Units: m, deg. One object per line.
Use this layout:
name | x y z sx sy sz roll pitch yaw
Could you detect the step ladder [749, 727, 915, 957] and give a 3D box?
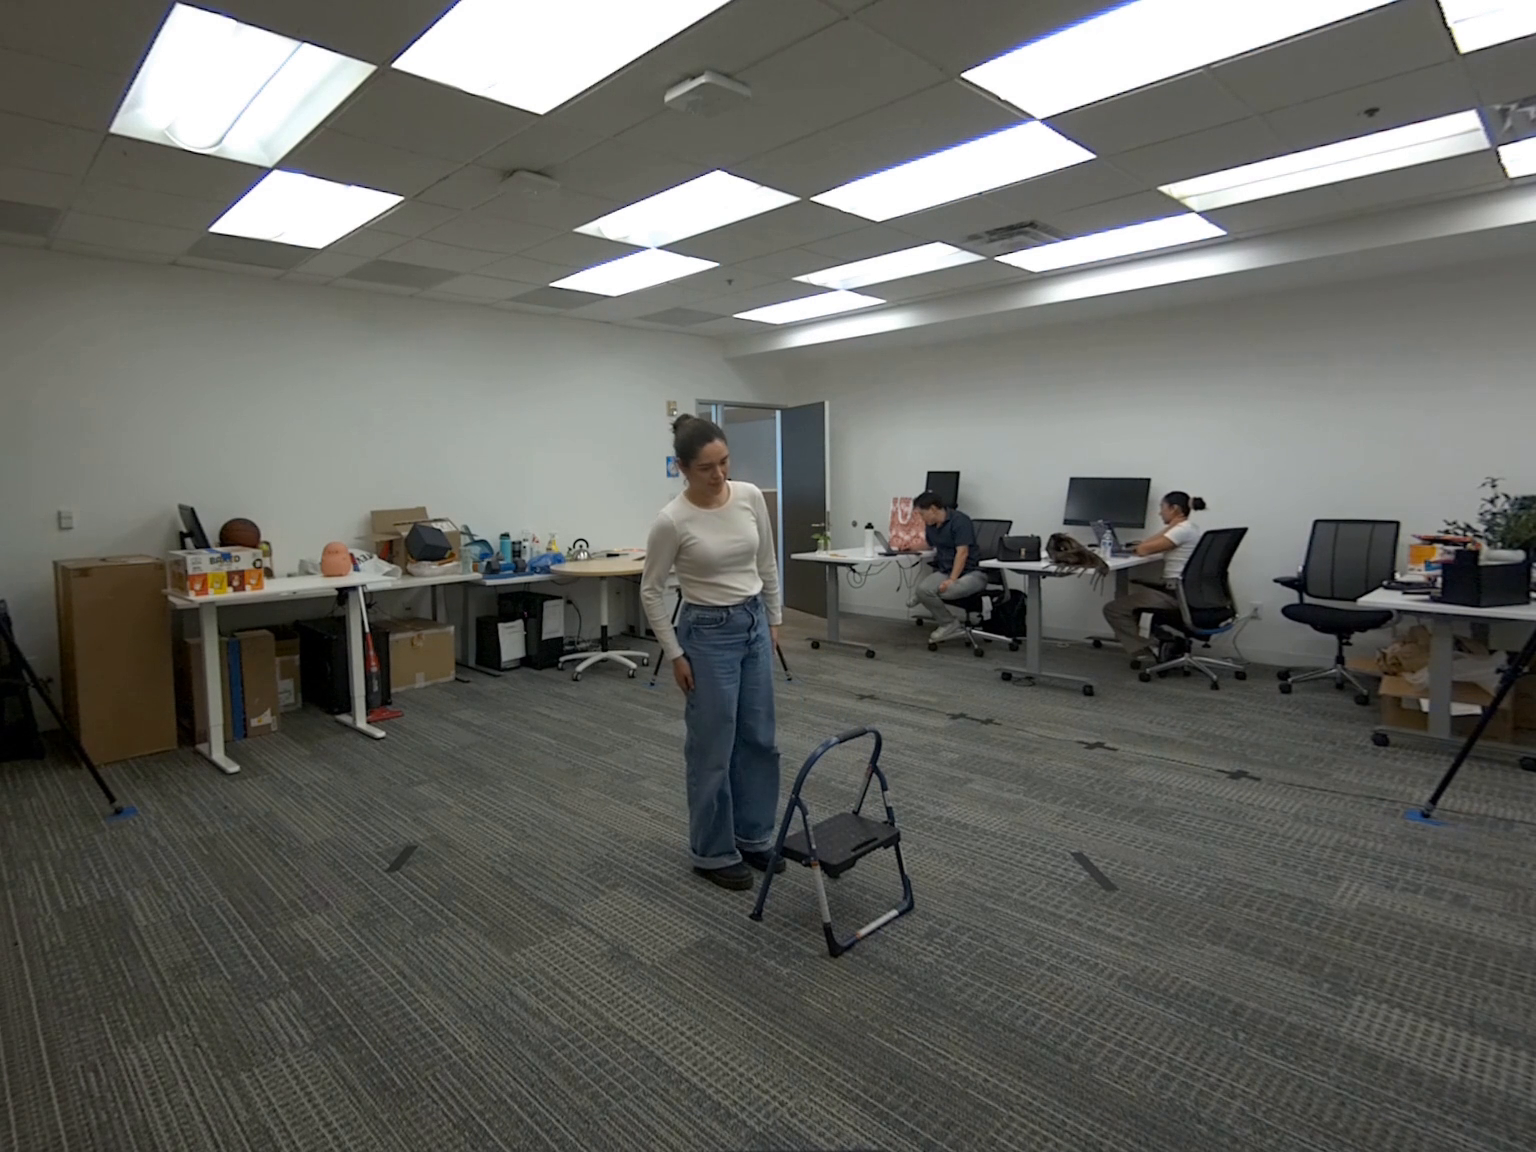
step ladder | 0.206 0.779 2.728 0.360 0.604 0.419 3 6 44
